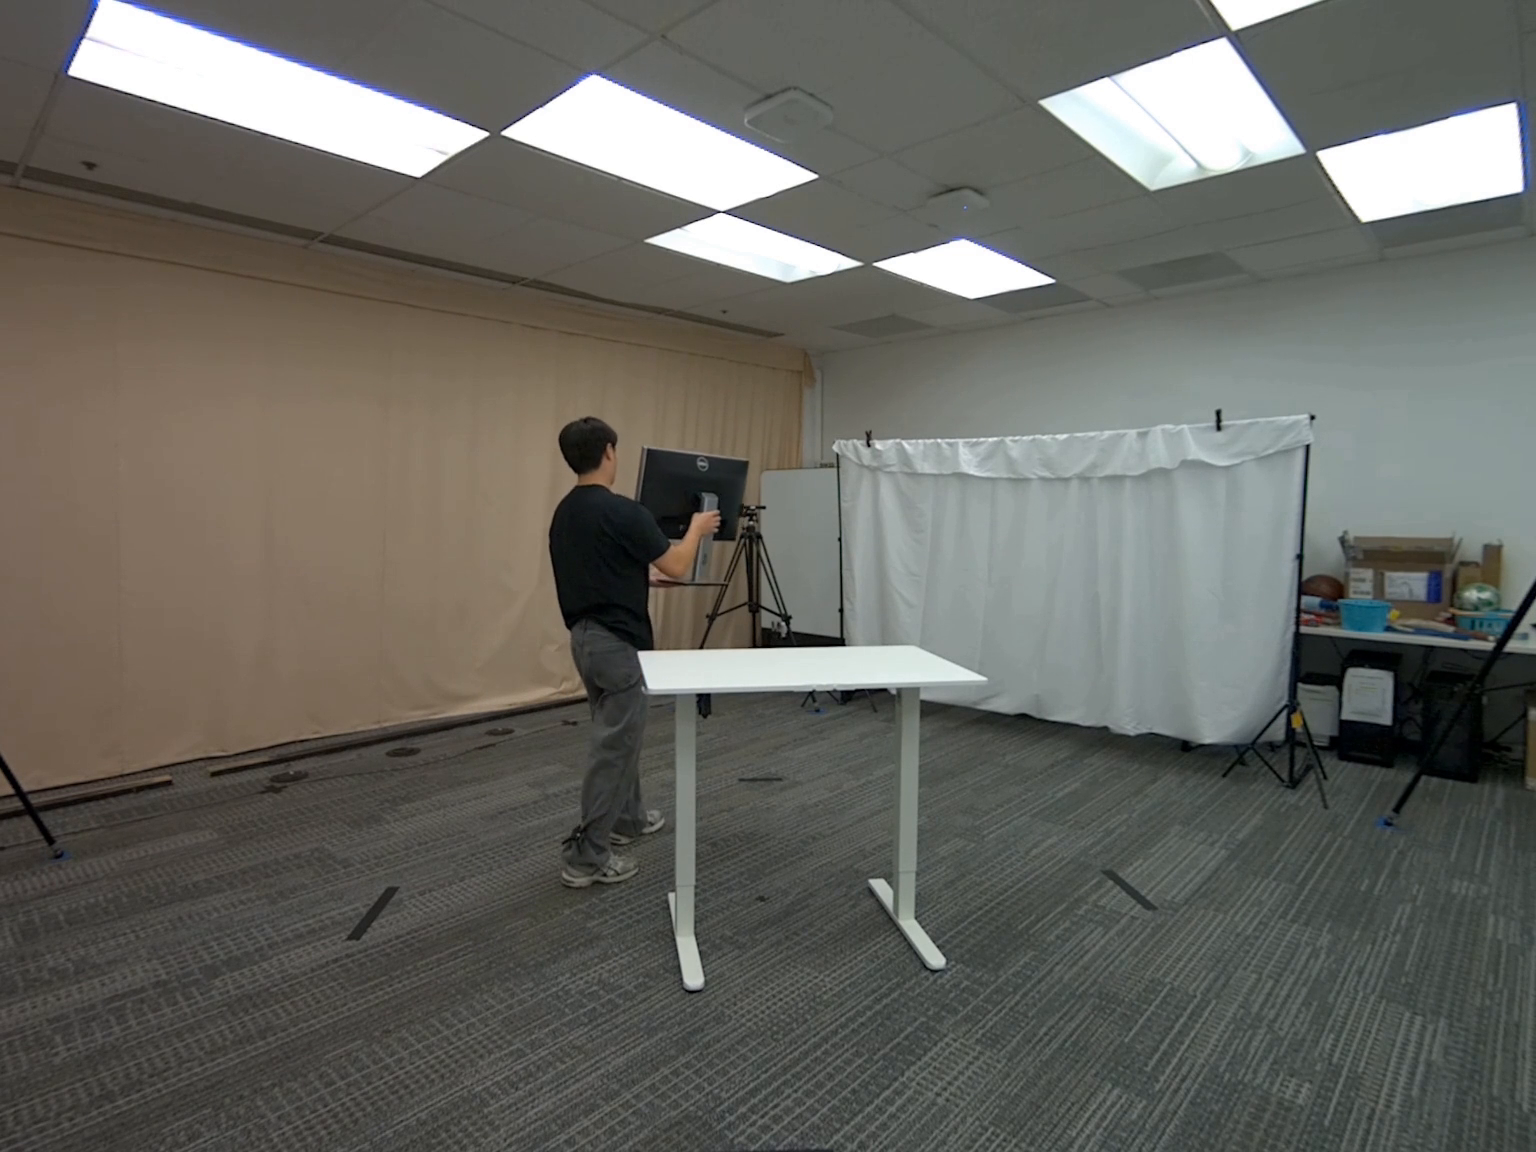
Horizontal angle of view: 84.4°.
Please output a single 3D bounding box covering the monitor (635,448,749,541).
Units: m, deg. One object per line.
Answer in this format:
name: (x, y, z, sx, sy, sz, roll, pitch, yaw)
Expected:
monitor: (-0.295, -0.226, 3.459, 0.544, 0.567, 0.229, 2, -4, -40)
